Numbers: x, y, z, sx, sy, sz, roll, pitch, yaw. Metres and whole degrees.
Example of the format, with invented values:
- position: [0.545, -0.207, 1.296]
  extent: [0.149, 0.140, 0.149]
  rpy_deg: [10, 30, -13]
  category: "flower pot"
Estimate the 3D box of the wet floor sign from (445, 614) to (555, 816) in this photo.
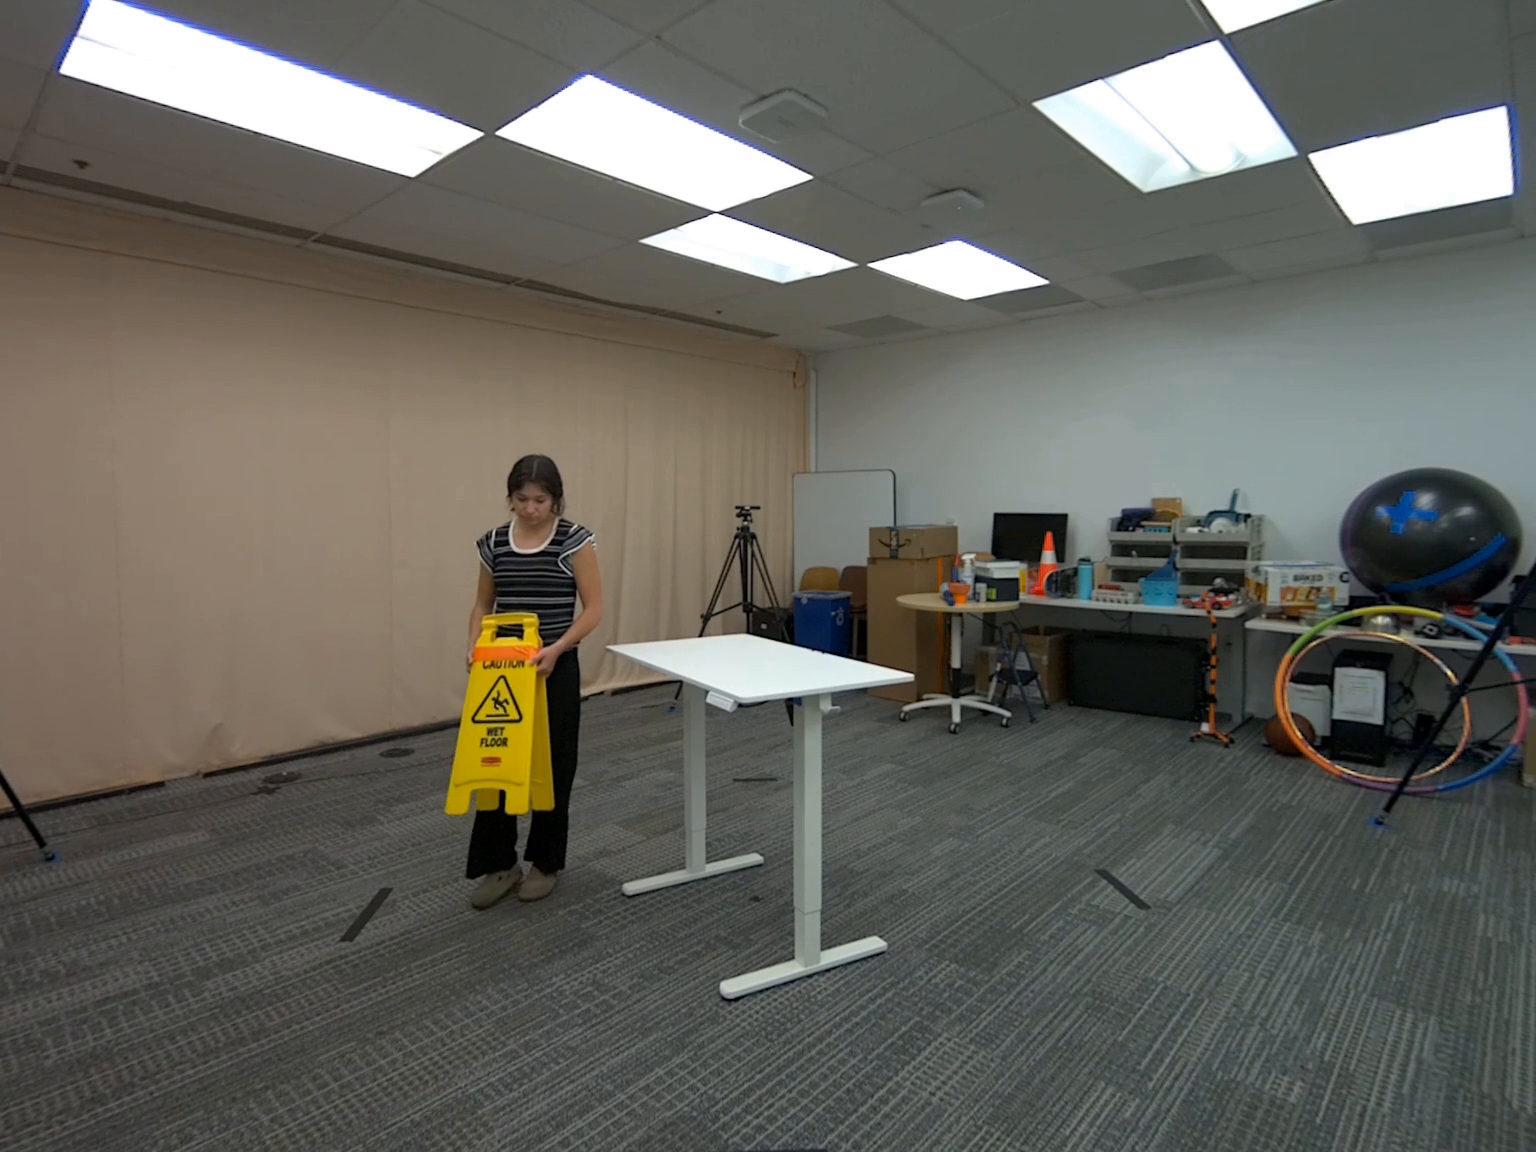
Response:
- position: [-0.874, 0.453, 2.823]
  extent: [0.285, 0.652, 0.285]
  rpy_deg: [-5, -13, 8]
  category: "wet floor sign"
